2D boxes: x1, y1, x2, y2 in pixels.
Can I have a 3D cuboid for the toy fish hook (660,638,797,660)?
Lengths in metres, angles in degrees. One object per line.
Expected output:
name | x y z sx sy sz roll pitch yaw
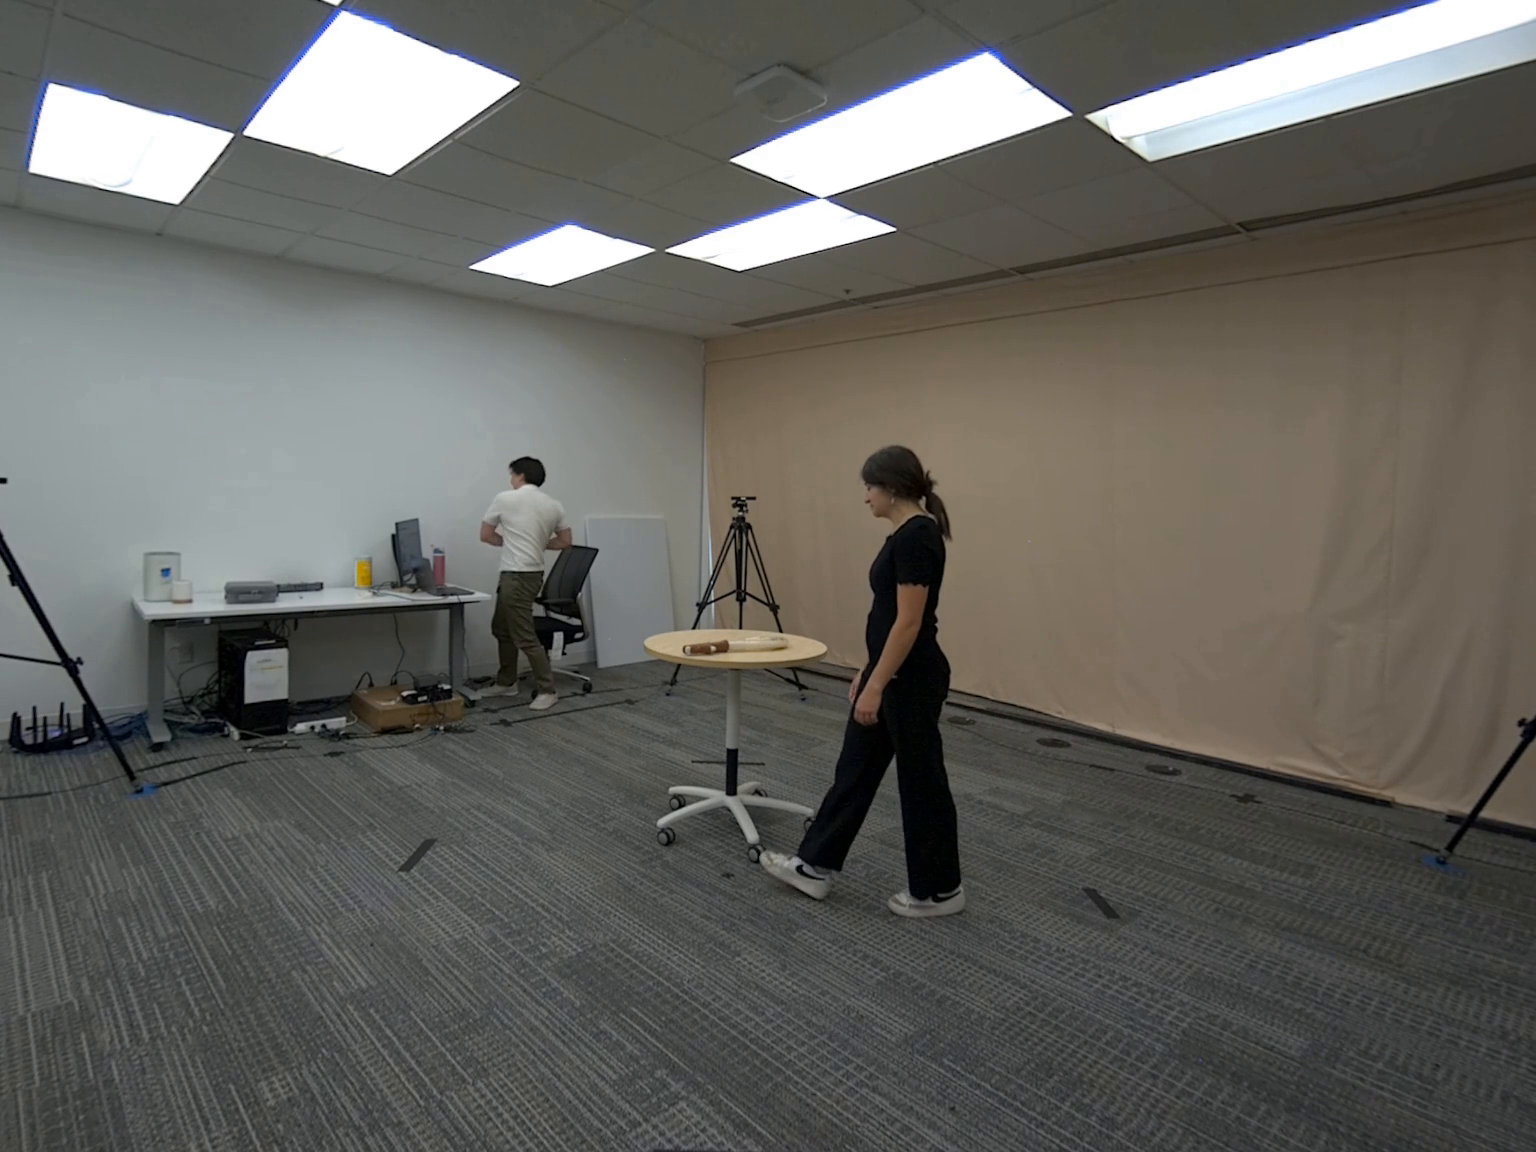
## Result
toy fish hook | -0.158 0.290 3.410 0.495 0.048 0.229 -1 -3 -35
